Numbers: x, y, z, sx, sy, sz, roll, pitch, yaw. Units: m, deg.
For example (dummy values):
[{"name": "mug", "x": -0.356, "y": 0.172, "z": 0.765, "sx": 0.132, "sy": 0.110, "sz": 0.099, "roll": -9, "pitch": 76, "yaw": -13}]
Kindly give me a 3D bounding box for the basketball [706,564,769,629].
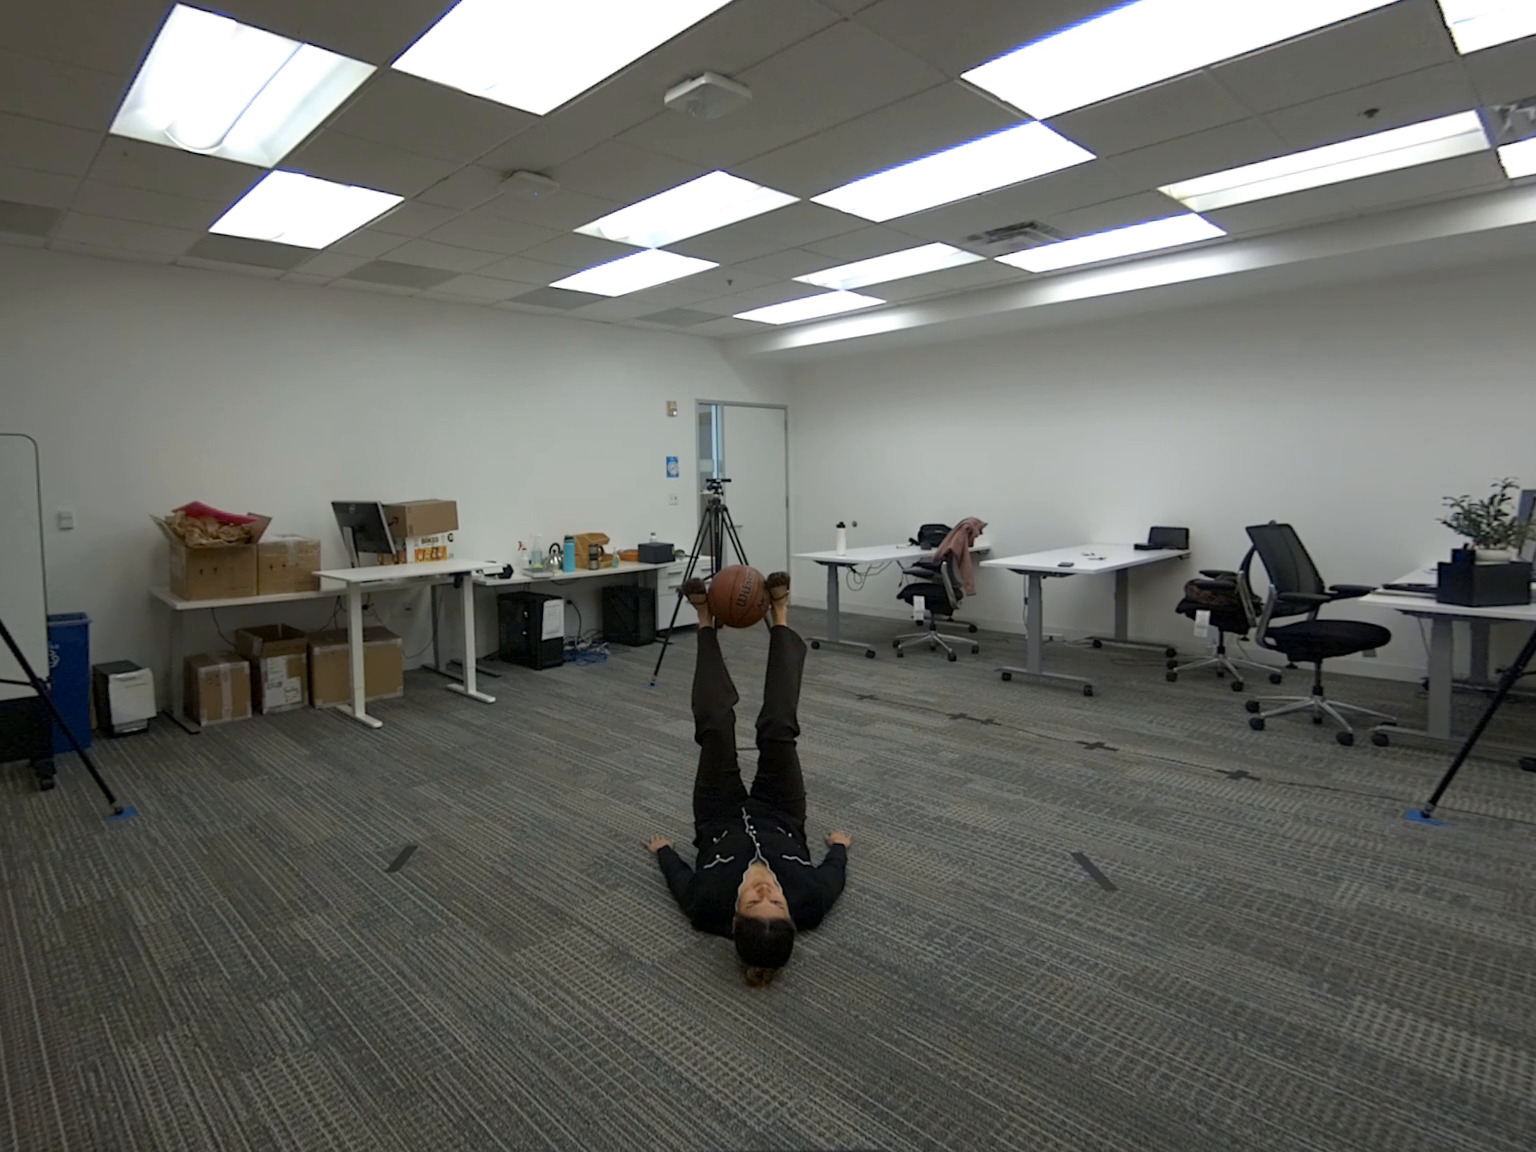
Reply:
[{"name": "basketball", "x": -0.104, "y": 0.072, "z": 3.161, "sx": 0.236, "sy": 0.235, "sz": 0.237, "roll": -4, "pitch": 4, "yaw": -1}]
